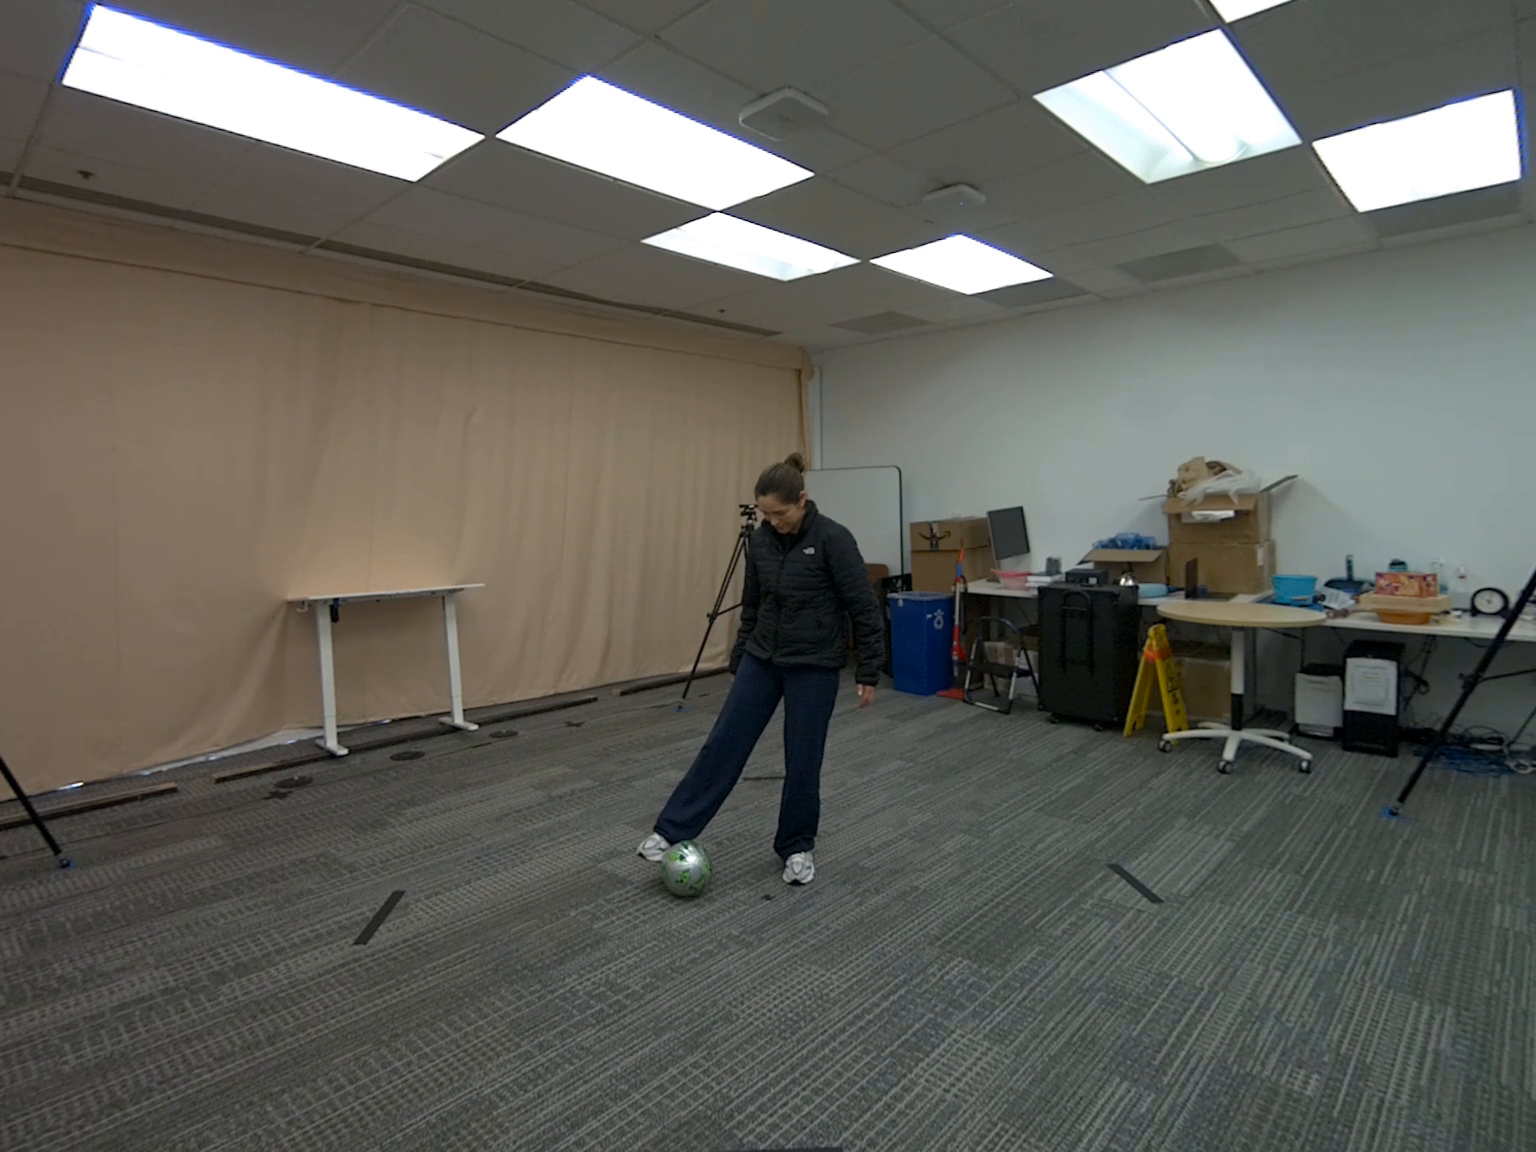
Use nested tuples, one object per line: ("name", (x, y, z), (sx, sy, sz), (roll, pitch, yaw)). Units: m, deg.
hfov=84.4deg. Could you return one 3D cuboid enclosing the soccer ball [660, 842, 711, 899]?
("soccer ball", (-0.281, 1.046, 3.018), (0.187, 0.187, 0.188), (-1, 4, -2))
